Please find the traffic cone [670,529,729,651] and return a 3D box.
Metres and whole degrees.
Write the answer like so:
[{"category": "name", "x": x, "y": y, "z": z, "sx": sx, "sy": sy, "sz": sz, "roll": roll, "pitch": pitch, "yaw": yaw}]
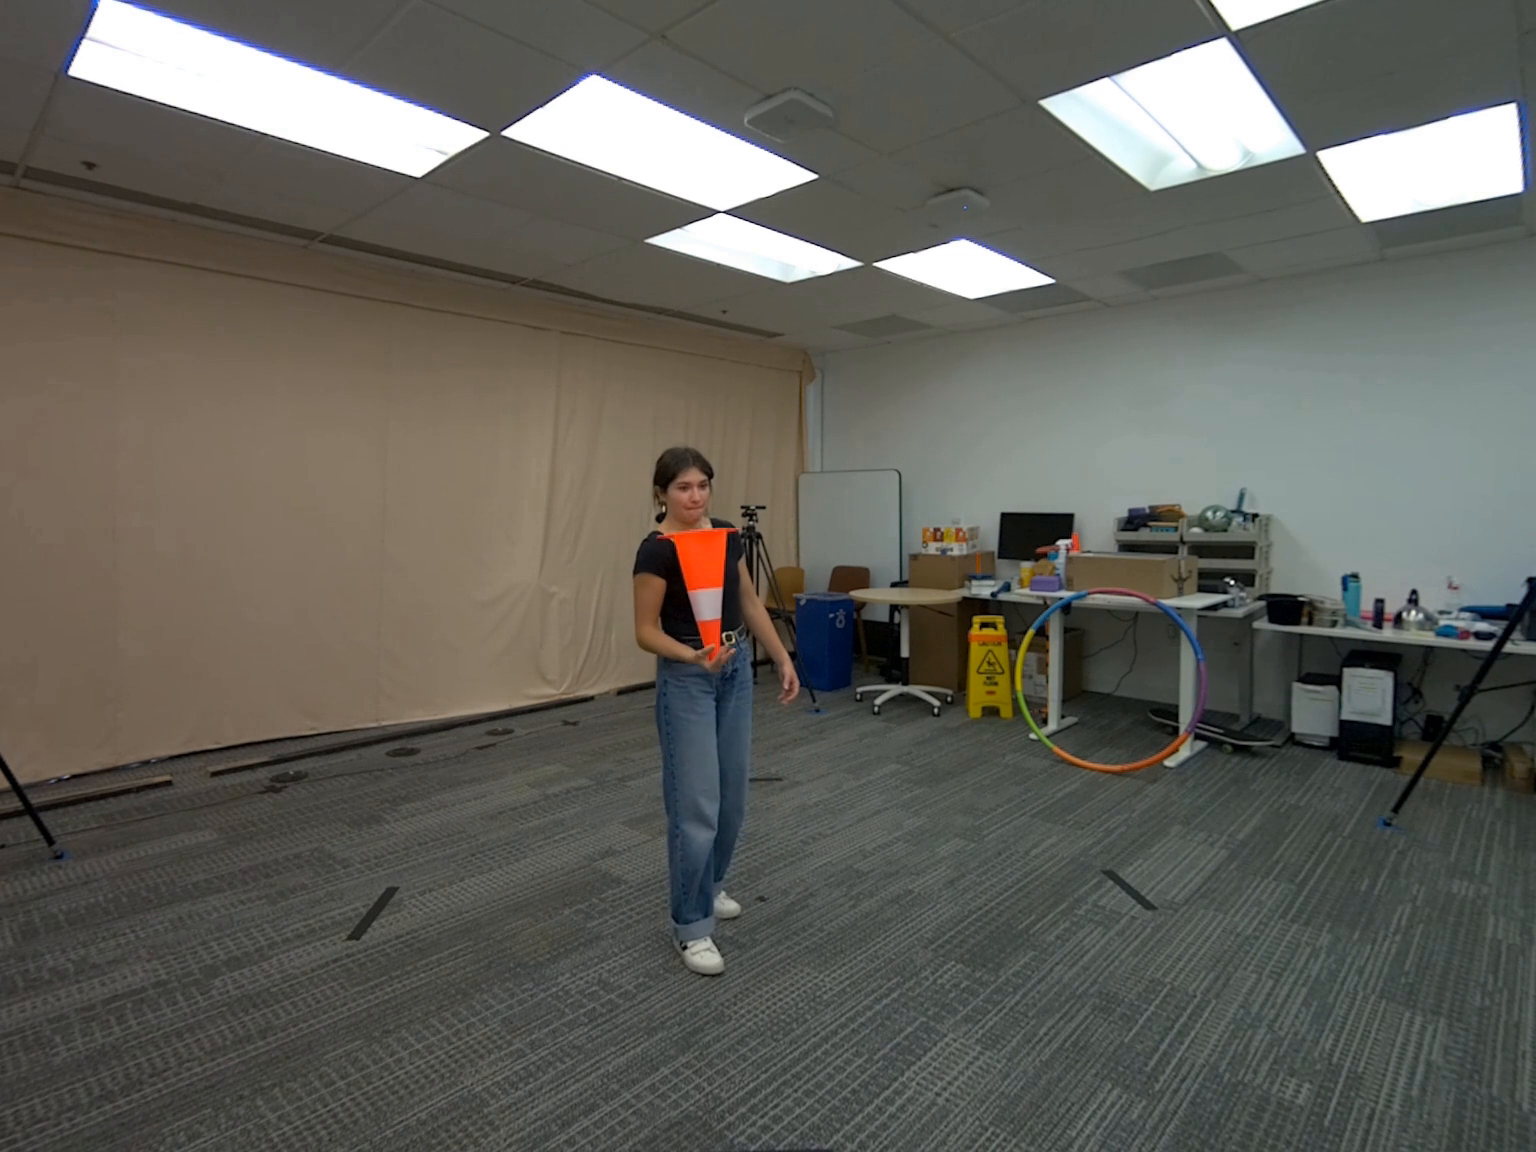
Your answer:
[{"category": "traffic cone", "x": -0.176, "y": 0.066, "z": 2.473, "sx": 0.200, "sy": 0.385, "sz": 0.207, "roll": -8, "pitch": -4, "yaw": -17}]
